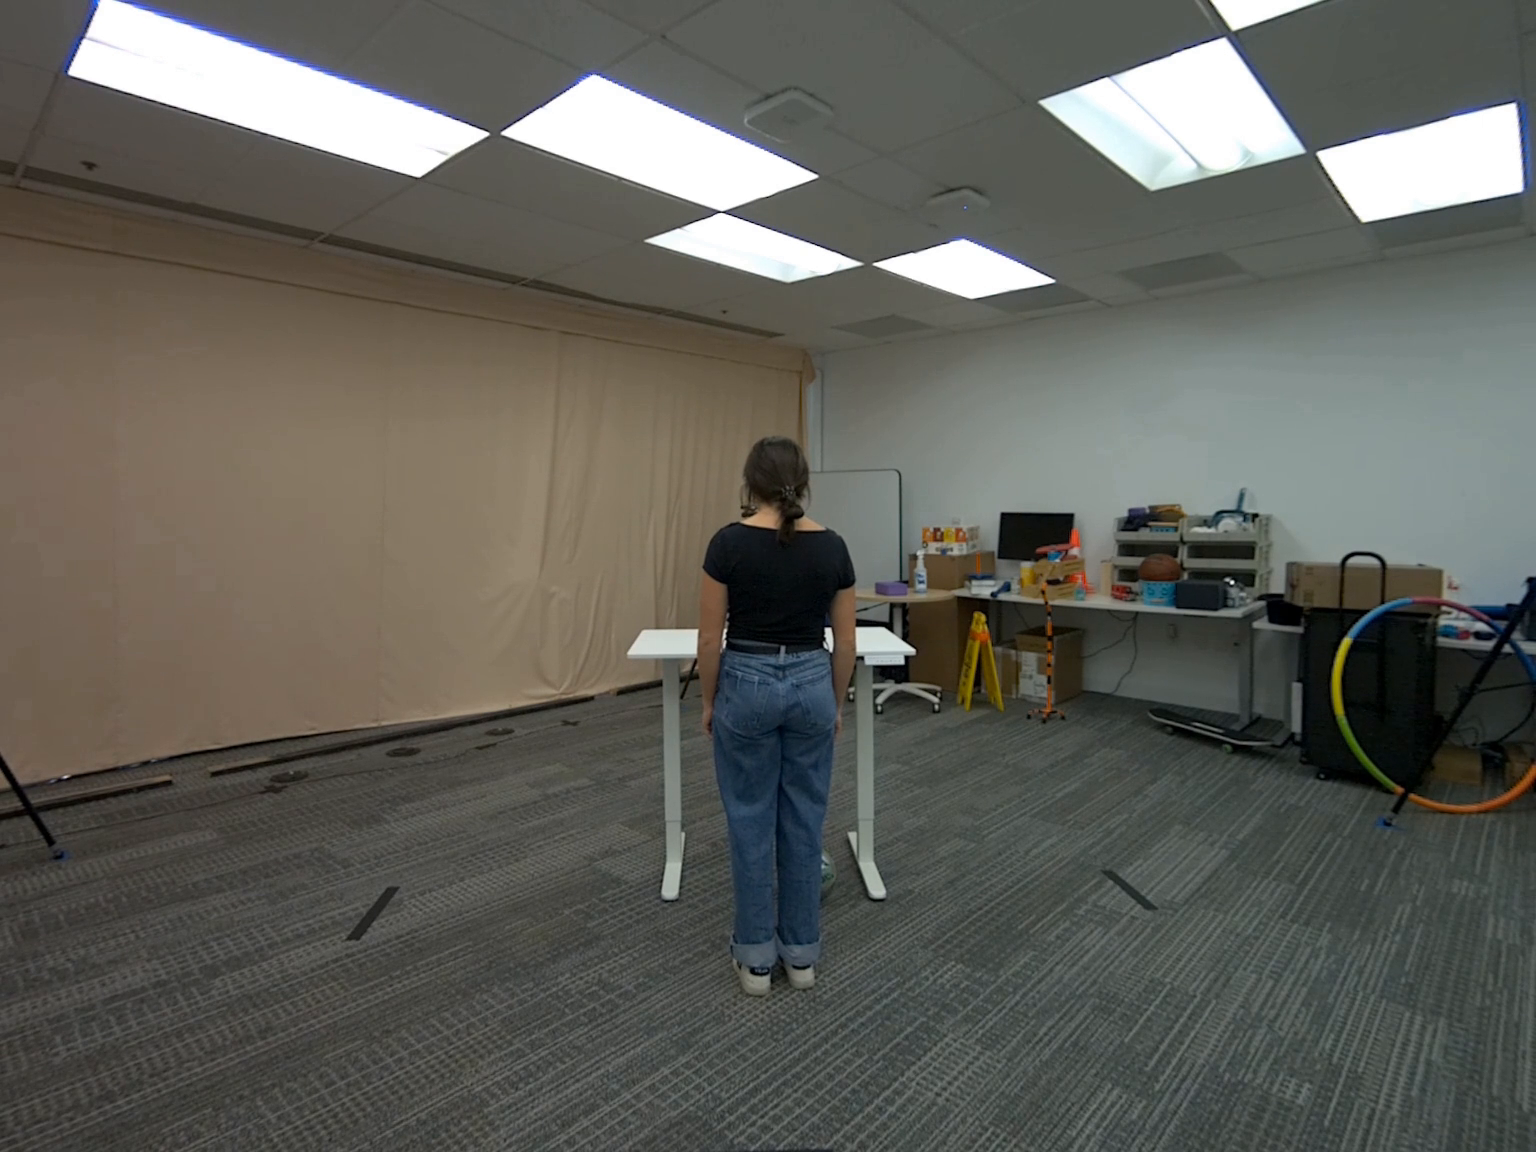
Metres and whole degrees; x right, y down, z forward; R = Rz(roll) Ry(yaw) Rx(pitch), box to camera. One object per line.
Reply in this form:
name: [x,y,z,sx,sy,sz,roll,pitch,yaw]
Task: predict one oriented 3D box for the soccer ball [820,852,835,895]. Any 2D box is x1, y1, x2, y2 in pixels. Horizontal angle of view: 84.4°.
soccer ball: [0.164,1.055,2.977,0.187,0.187,0.188,0,4,-2]
